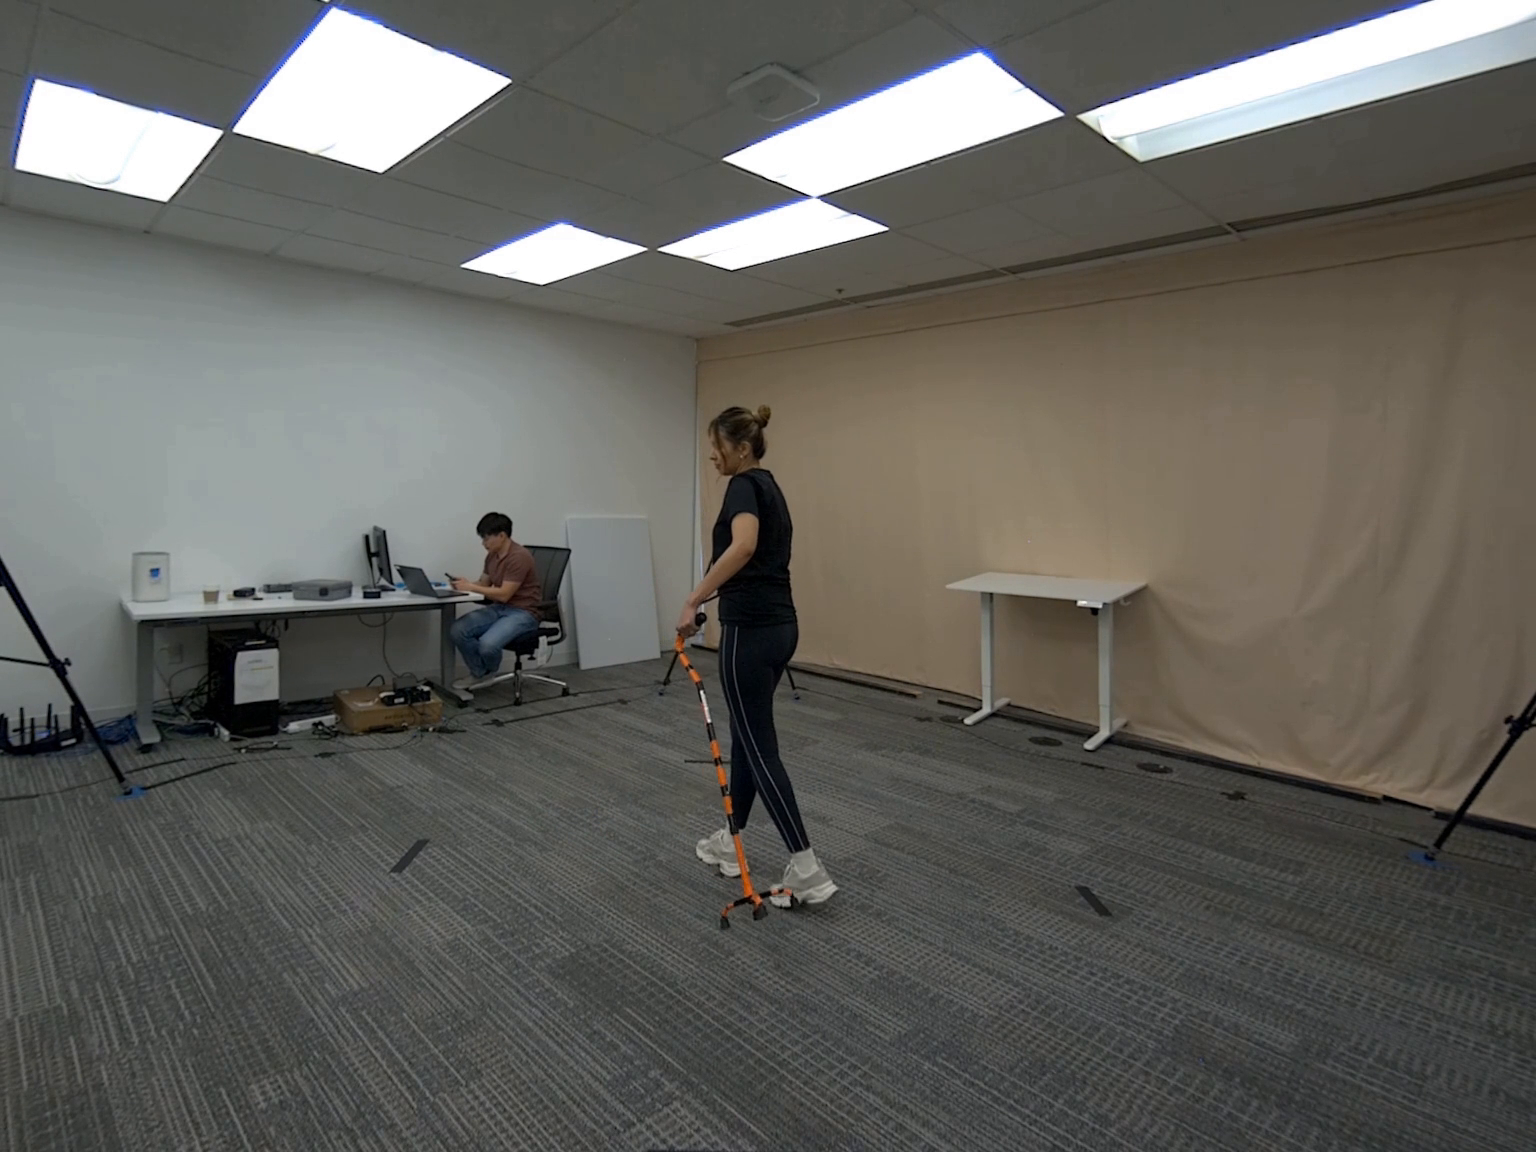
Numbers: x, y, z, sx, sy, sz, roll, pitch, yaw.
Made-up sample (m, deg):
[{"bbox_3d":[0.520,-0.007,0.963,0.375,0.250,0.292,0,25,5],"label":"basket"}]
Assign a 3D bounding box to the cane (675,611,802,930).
[{"bbox_3d":[-0.150,0.578,2.573,0.147,0.926,0.208,11,-34,-45],"label":"cane"}]
